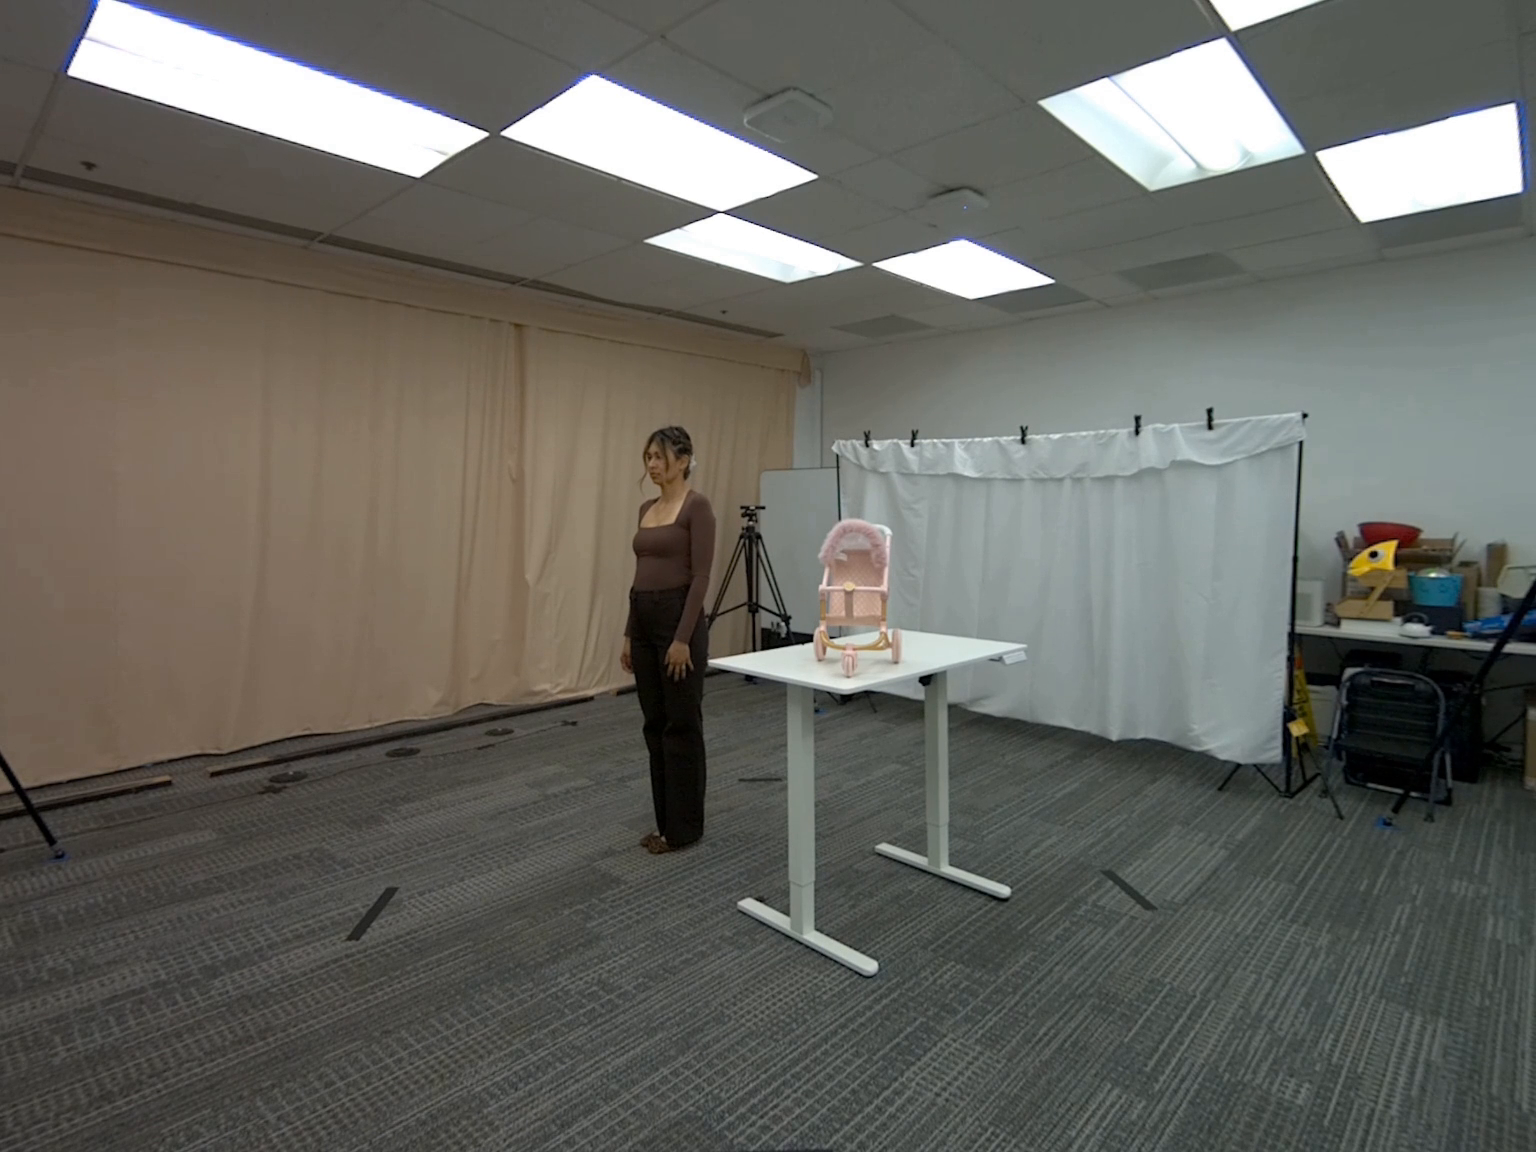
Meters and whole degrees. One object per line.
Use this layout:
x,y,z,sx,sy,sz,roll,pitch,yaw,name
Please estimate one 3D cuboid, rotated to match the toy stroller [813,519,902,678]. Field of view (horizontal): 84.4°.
0.282,0.063,2.678,0.287,0.538,0.332,0,-11,18,toy stroller
